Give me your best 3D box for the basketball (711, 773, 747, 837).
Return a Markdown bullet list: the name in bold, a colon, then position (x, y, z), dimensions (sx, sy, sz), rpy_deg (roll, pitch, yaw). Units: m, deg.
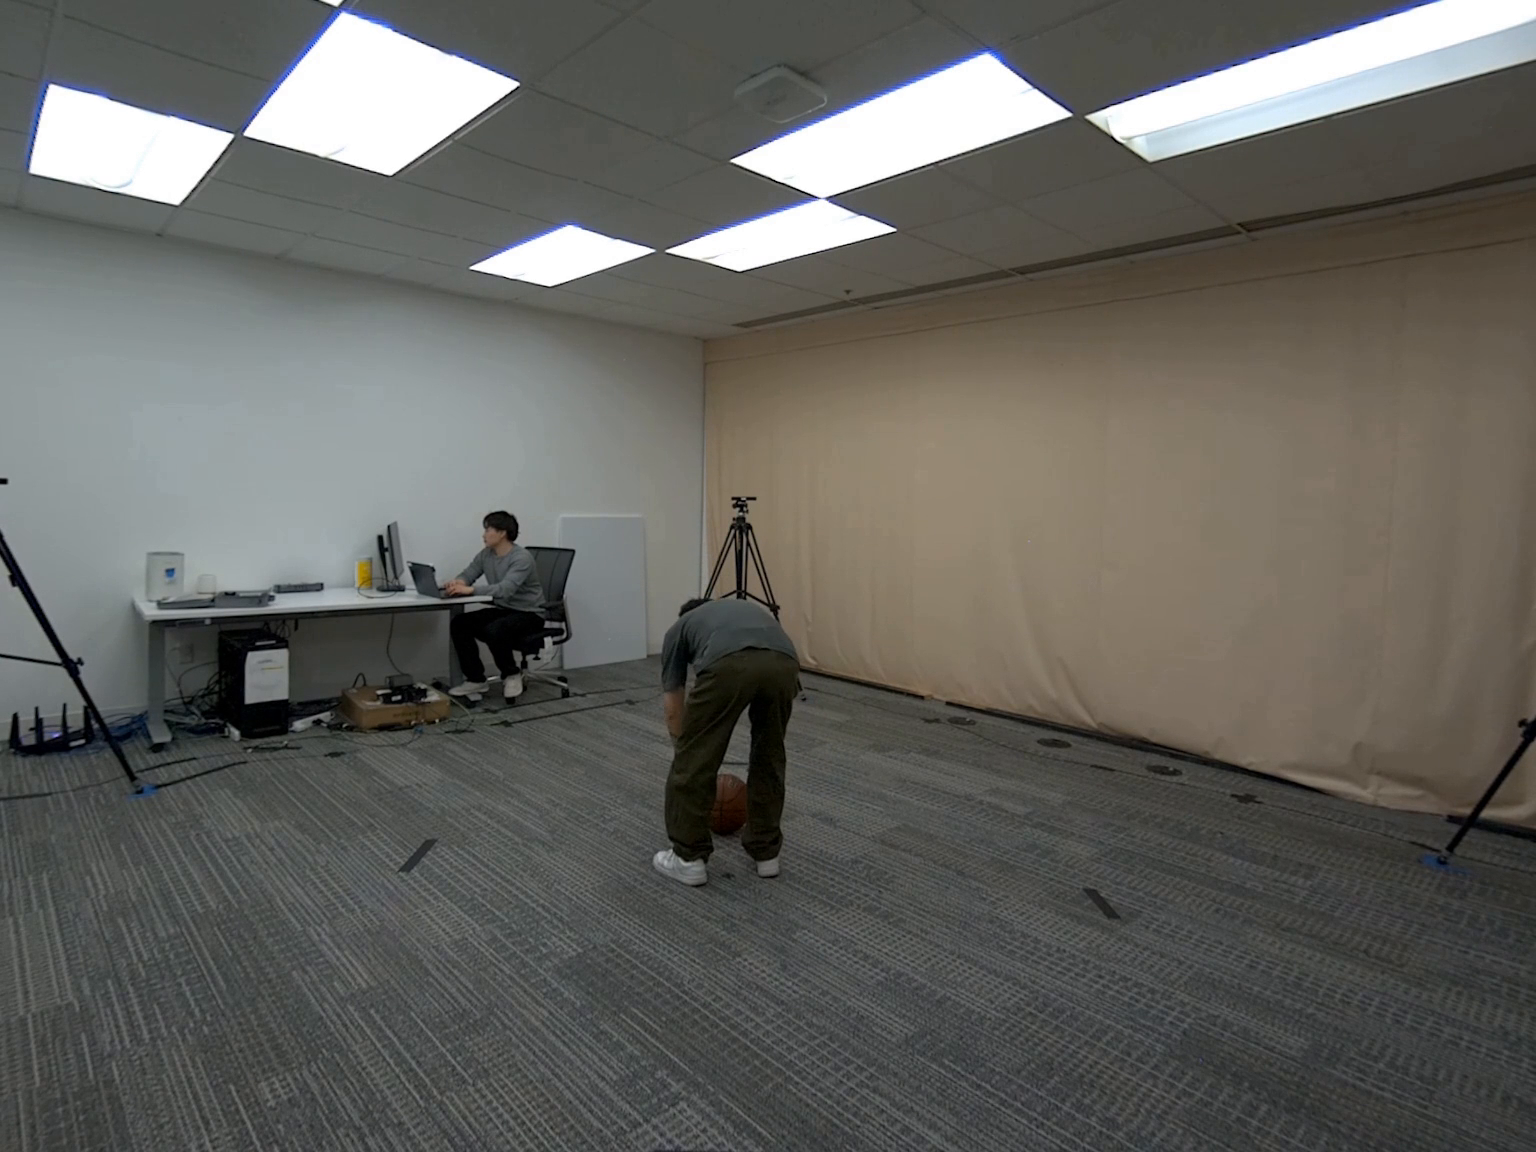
- **basketball**: position (-0.190, 0.948, 3.527), dimensions (0.236, 0.235, 0.237), rpy_deg (1, 4, -1)
